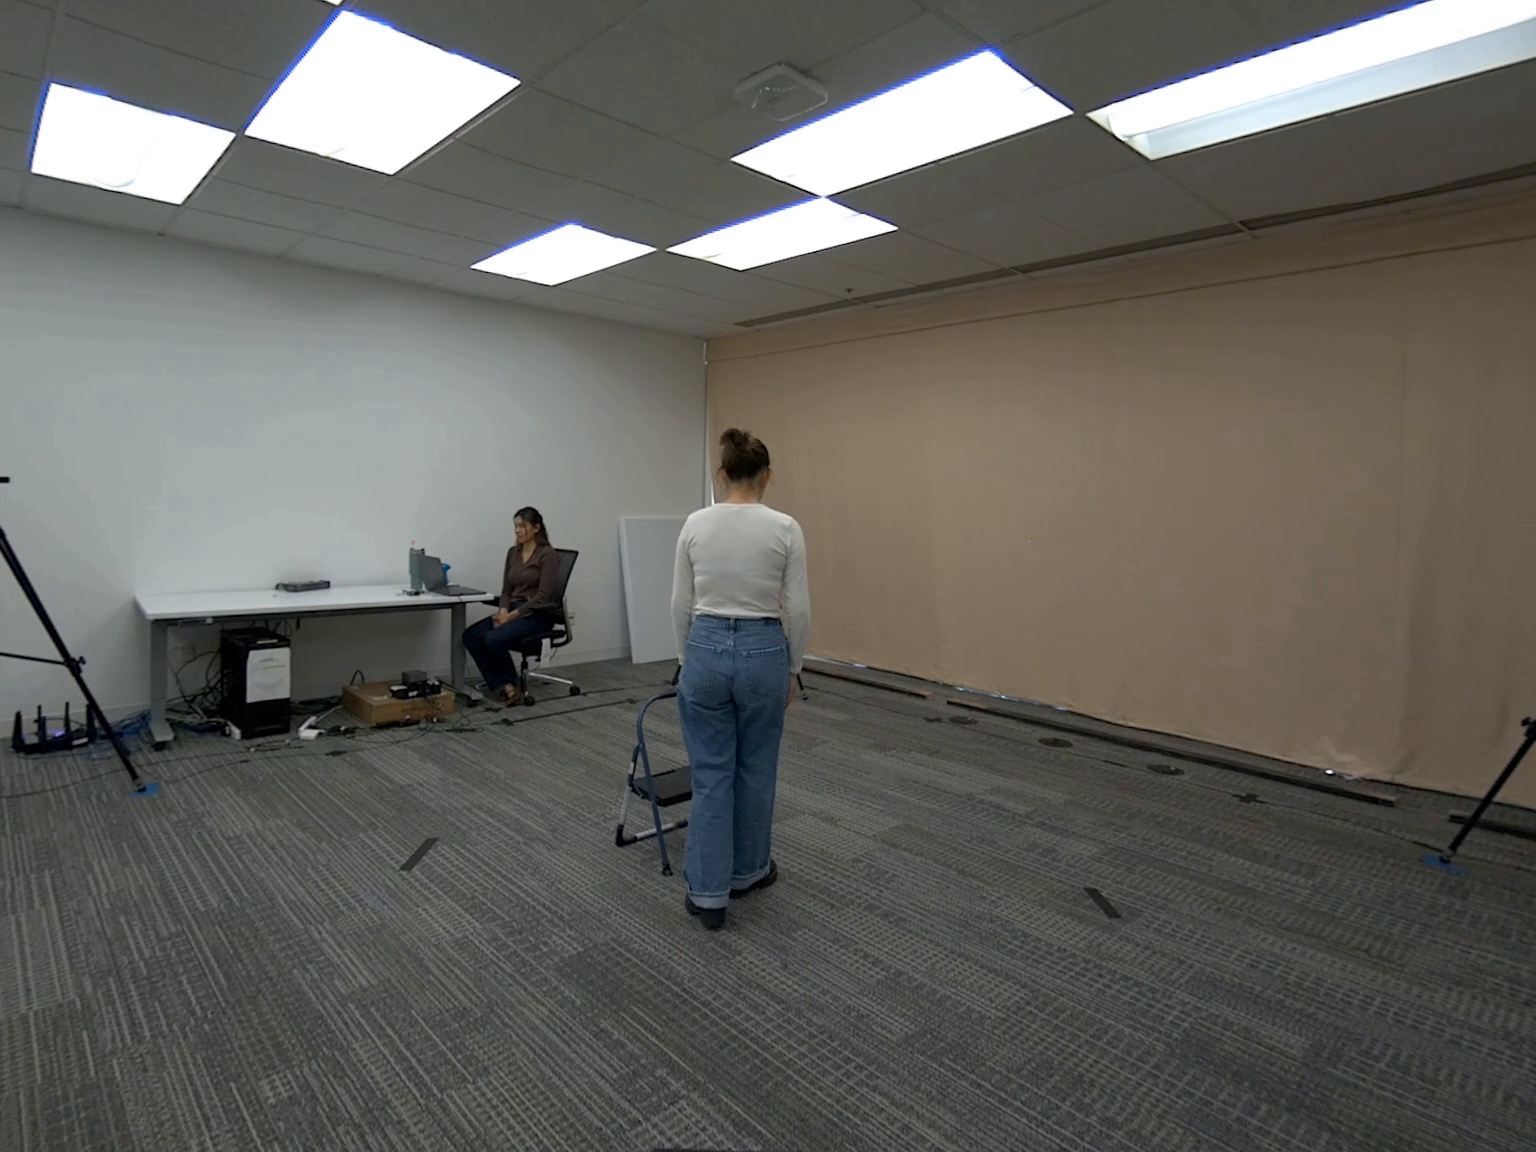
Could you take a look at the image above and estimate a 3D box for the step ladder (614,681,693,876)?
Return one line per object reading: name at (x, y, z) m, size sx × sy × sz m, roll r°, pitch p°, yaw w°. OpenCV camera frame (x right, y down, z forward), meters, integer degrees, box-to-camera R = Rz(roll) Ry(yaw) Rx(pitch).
step ladder at (-0.340, 0.774, 3.334) m, size 0.421 × 0.604 × 0.358 m, roll -2°, pitch 5°, yaw -45°
